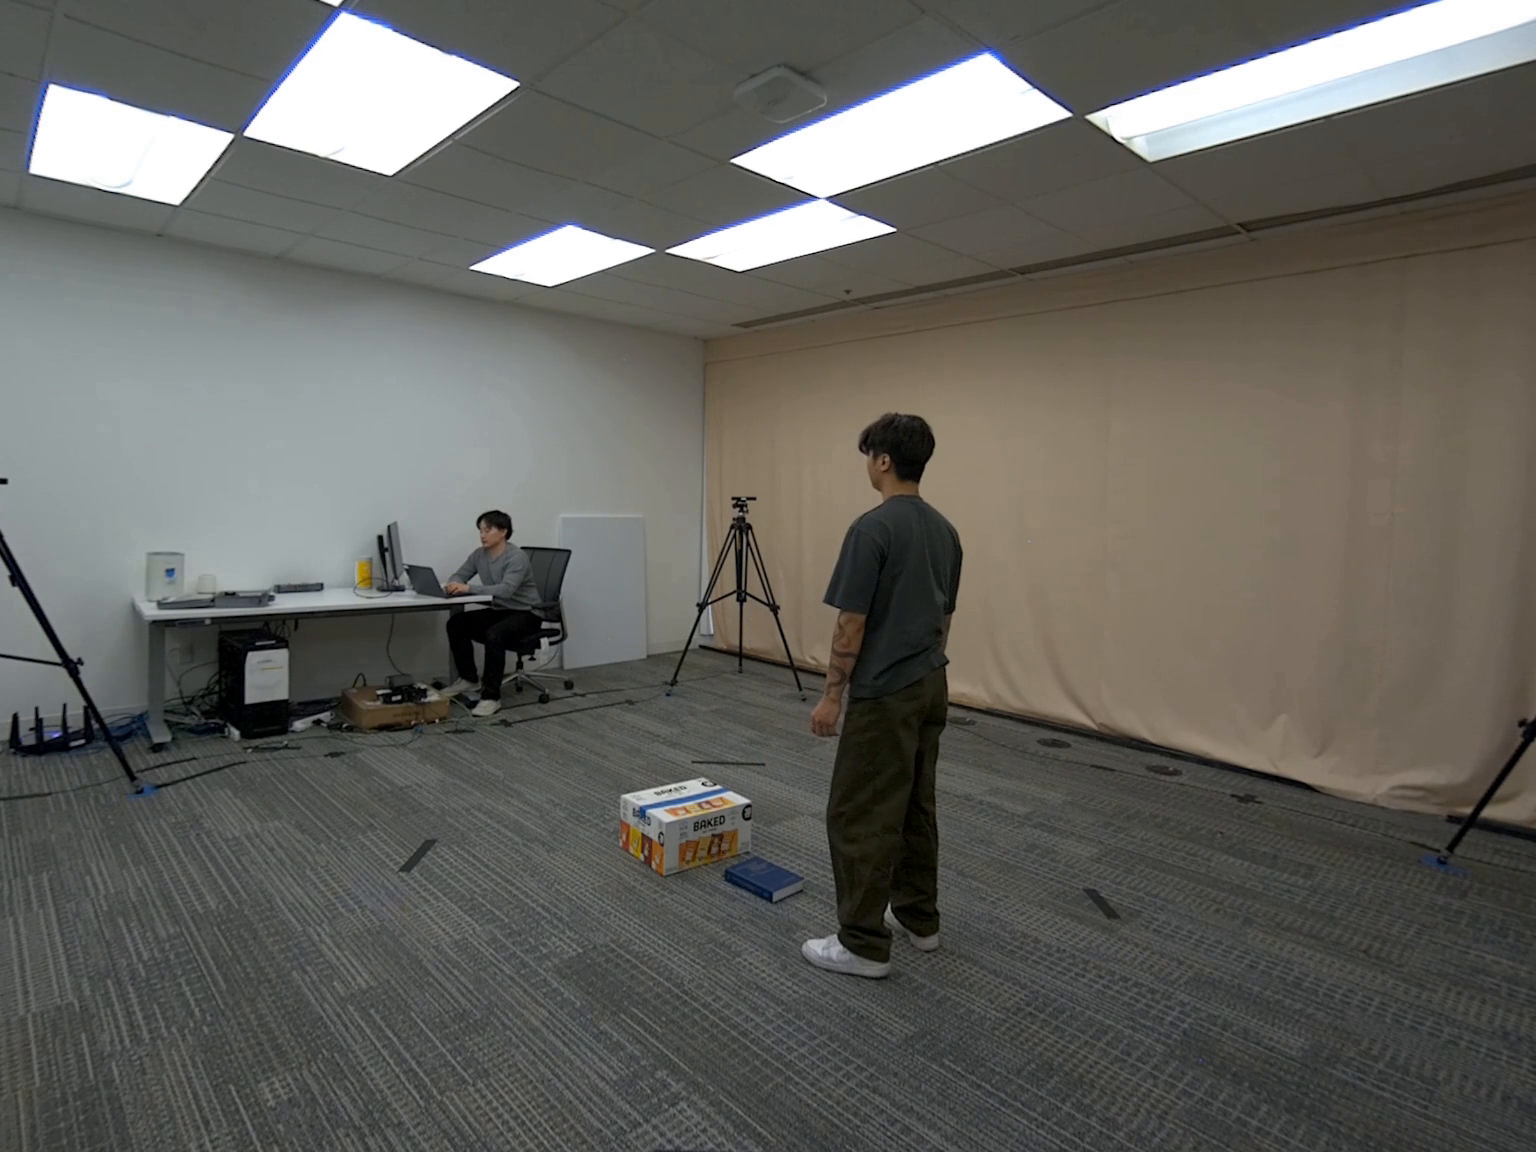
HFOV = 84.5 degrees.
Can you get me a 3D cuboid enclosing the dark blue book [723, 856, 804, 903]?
[{"bbox_3d":[-0.022,1.091,3.030,0.160,0.045,0.251,-3,7,-44],"label":"dark blue book"}]
